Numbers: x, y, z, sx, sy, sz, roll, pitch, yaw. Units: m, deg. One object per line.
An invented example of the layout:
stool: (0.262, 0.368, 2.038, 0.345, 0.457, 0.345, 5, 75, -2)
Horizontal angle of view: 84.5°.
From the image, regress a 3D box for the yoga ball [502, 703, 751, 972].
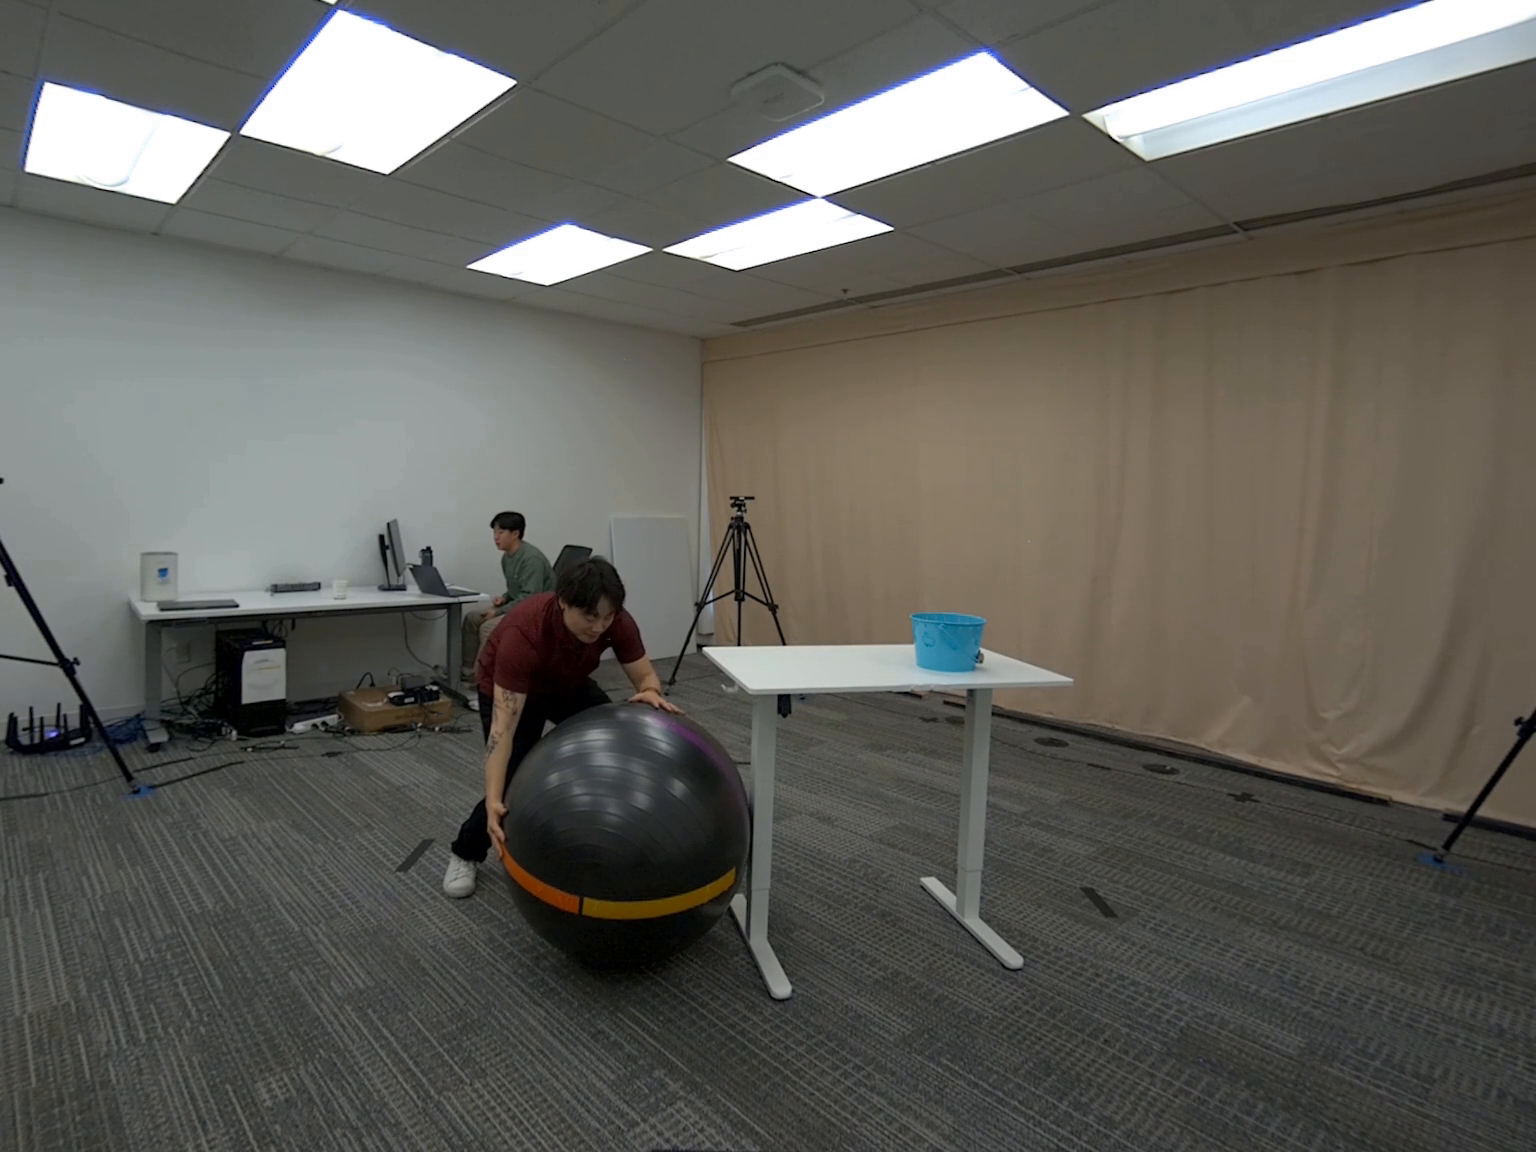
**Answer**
yoga ball: (-0.436, 0.776, 2.567, 0.757, 0.756, 0.760, 1, 4, -1)
